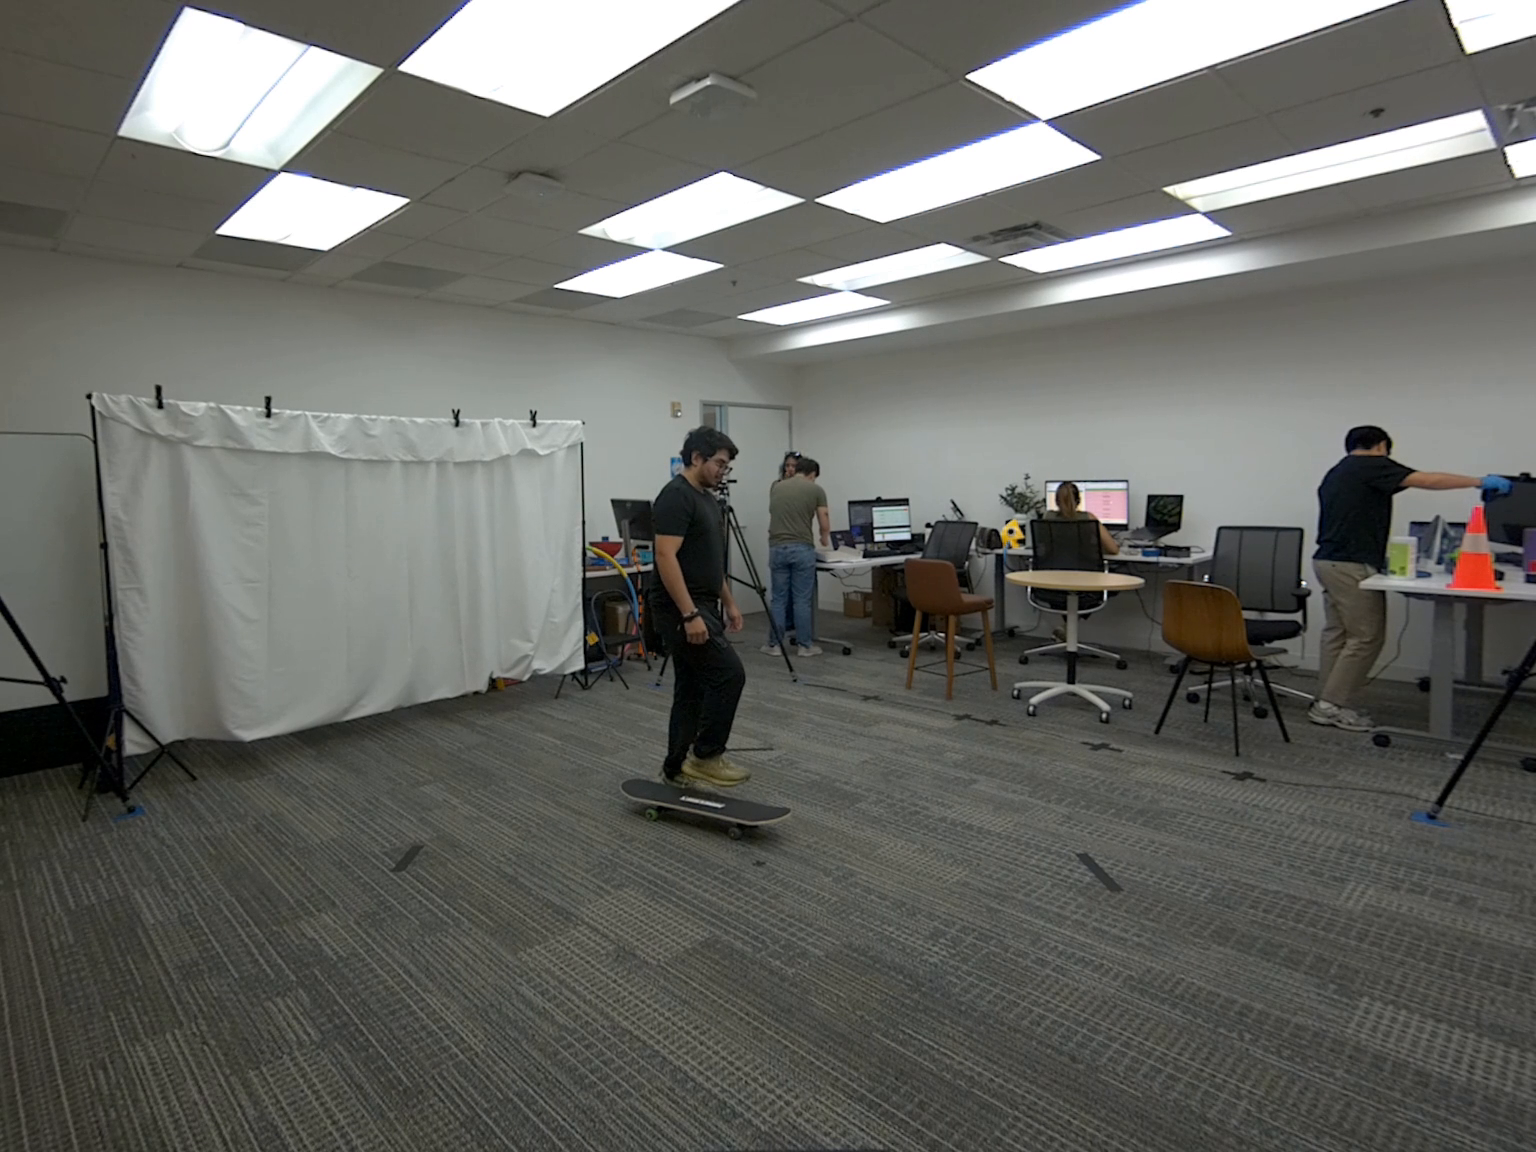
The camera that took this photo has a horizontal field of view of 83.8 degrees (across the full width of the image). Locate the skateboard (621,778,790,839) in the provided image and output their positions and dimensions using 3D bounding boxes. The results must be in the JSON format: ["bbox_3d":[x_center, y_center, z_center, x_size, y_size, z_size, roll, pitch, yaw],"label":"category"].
[{"bbox_3d":[-0.261,0.953,3.491,0.806,0.110,0.189,2,6,30],"label":"skateboard"}]
